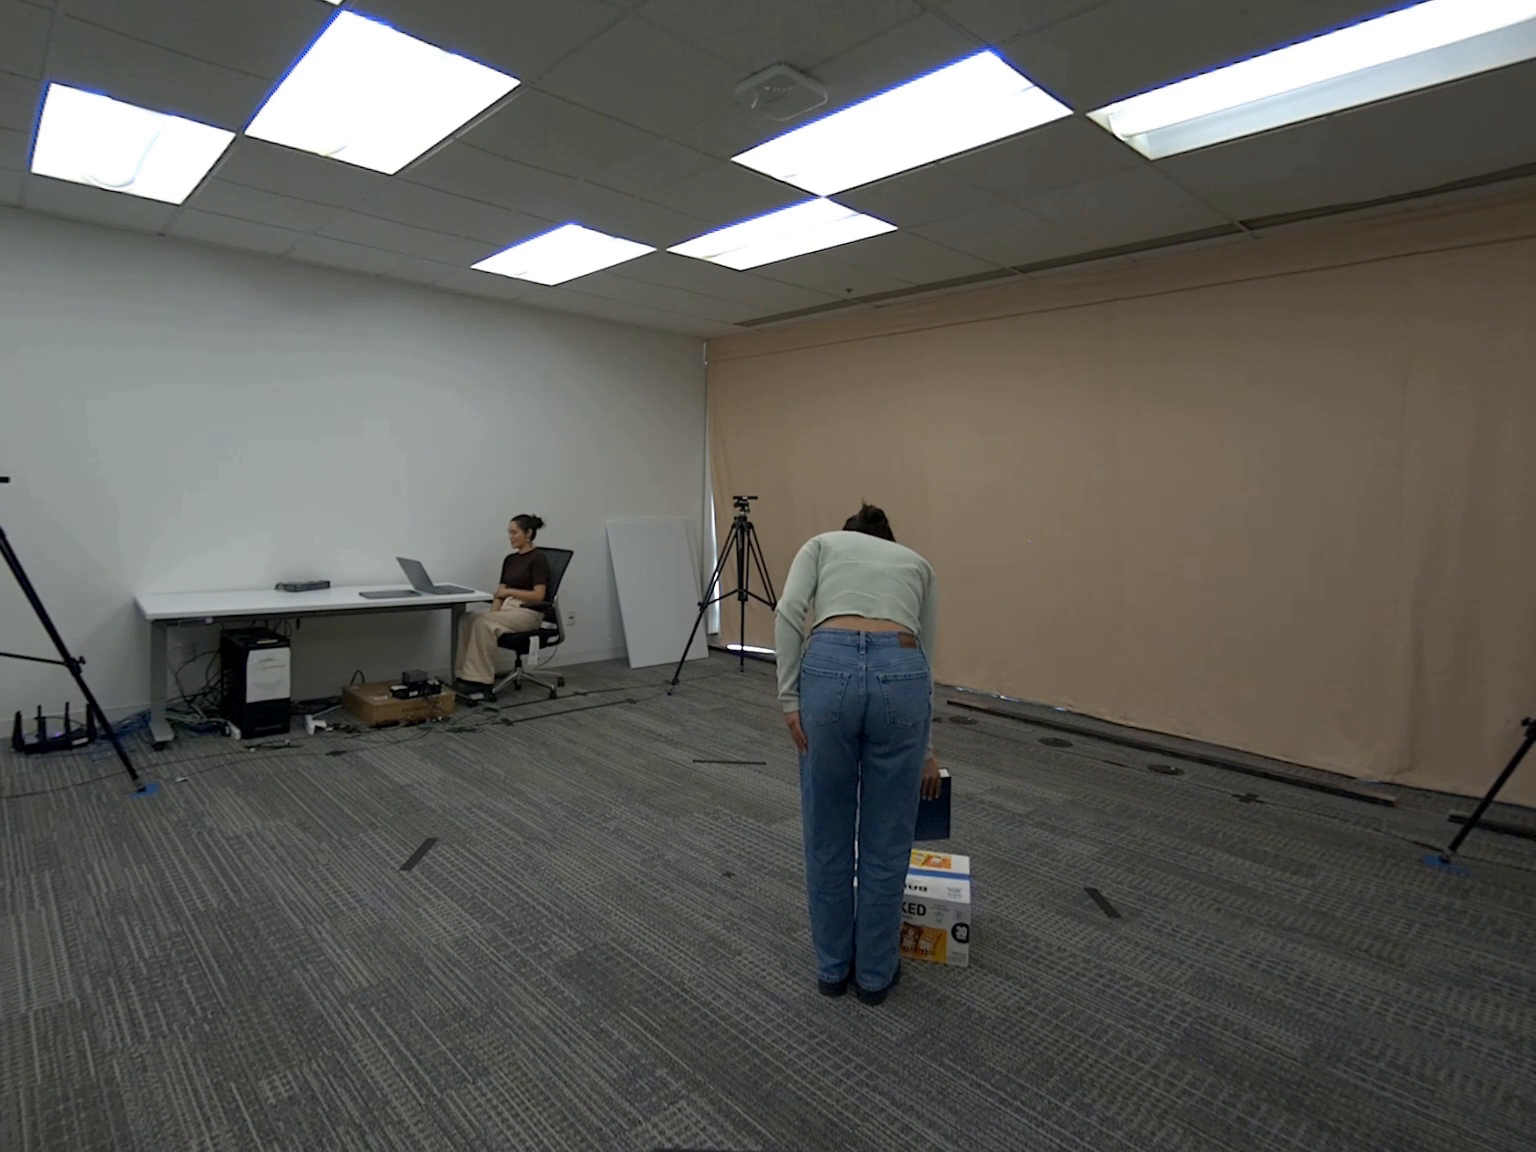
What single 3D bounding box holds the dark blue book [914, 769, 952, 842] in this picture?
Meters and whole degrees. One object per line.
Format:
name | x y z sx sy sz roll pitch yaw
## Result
dark blue book | 0.474 0.707 2.577 0.163 0.241 0.046 -4 22 2
